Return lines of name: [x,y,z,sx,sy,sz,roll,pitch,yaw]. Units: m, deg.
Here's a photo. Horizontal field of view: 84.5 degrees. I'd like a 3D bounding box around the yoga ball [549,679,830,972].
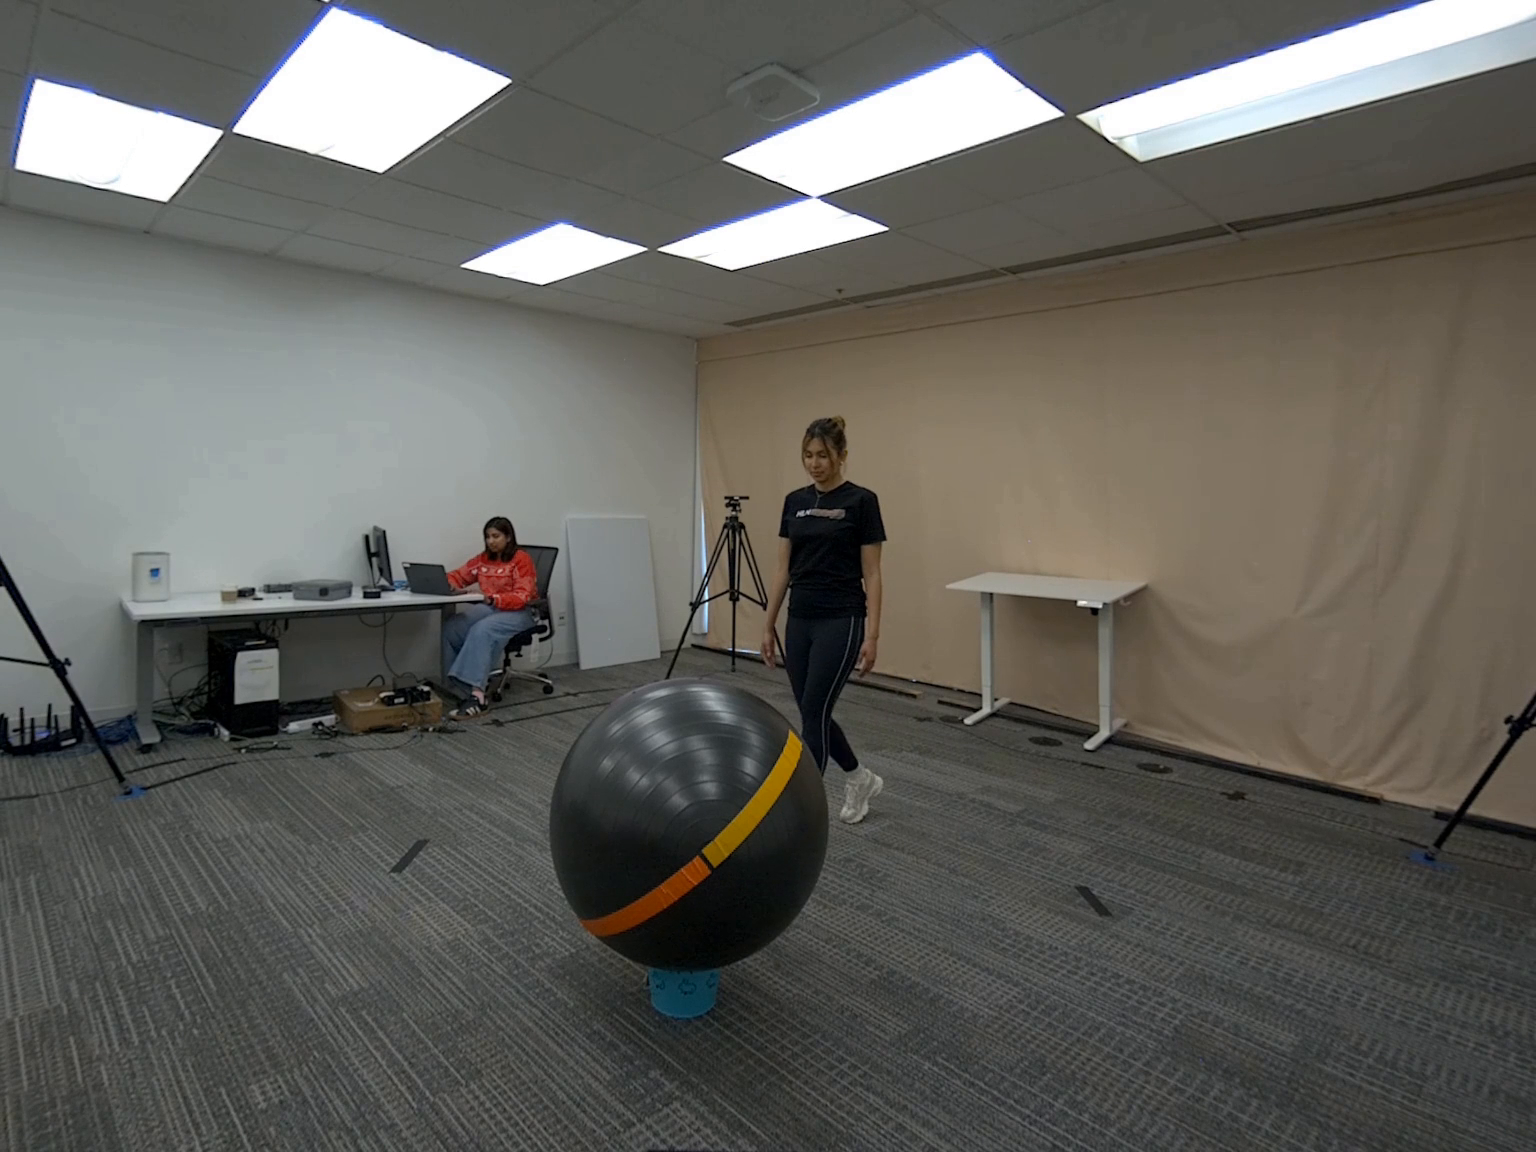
yoga ball: [-0.216,0.669,2.300,0.757,0.756,0.761,1,4,-1]
